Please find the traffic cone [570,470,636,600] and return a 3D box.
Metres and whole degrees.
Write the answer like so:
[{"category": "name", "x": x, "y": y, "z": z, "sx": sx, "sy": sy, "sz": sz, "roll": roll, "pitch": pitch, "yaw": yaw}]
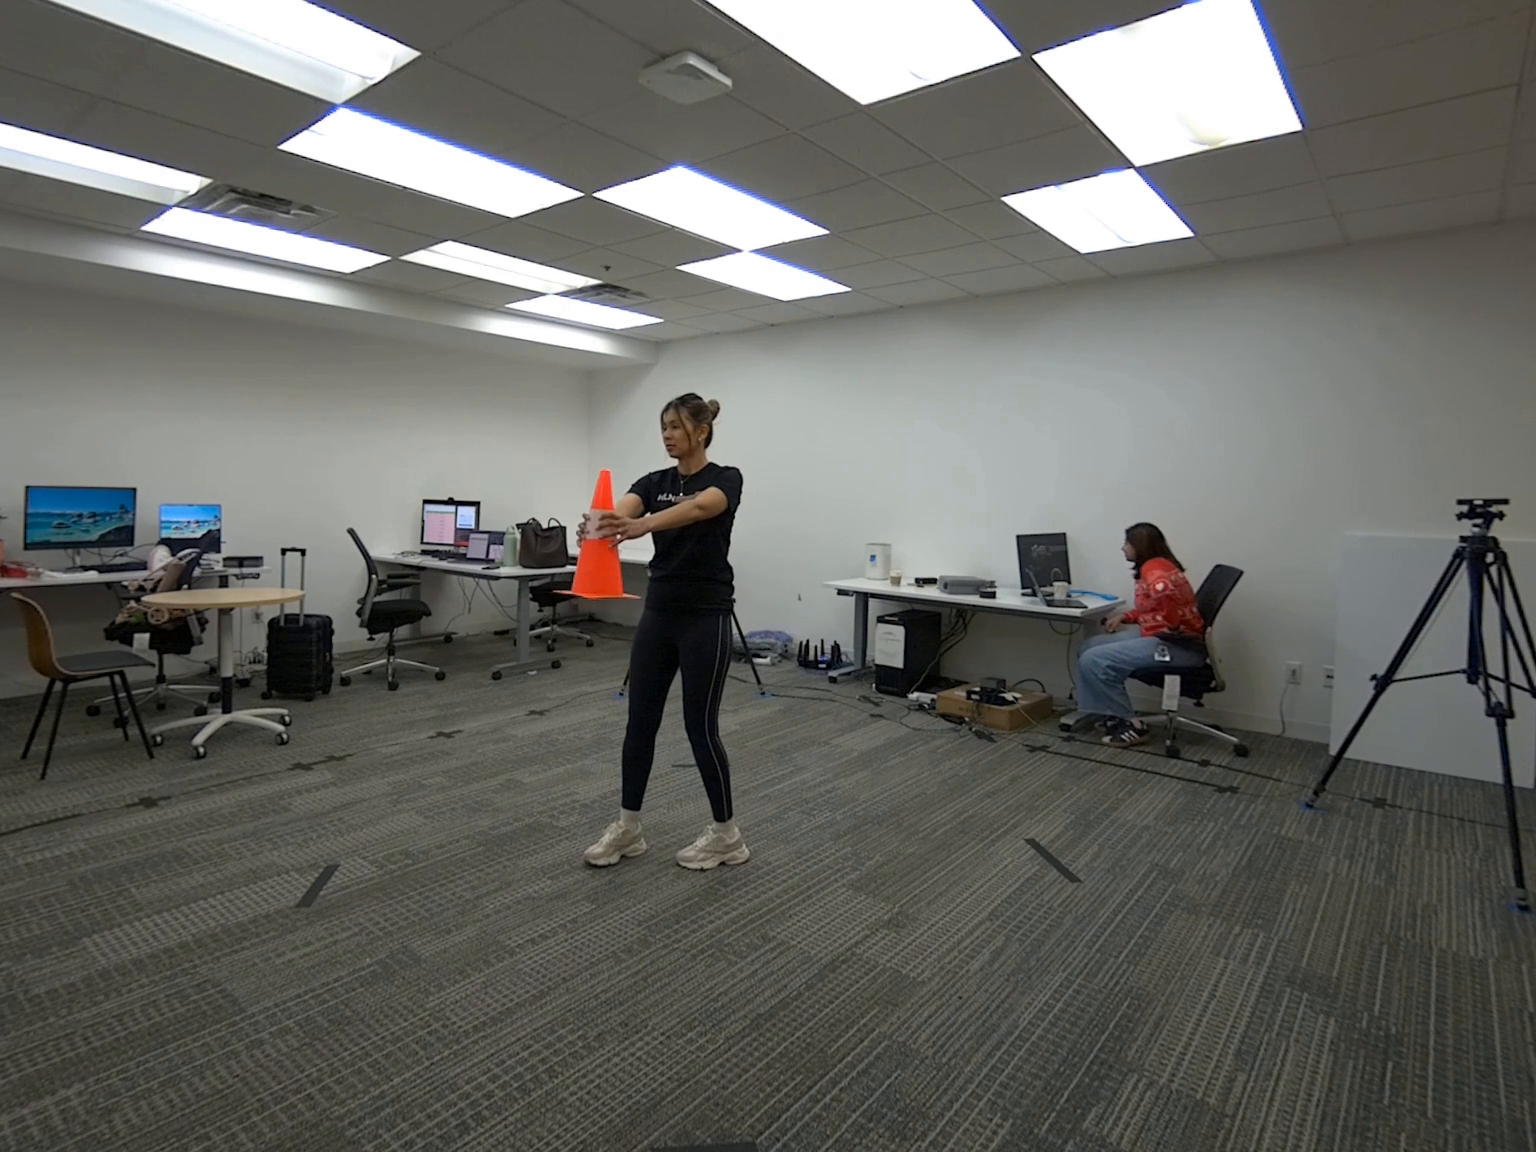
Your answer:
[{"category": "traffic cone", "x": -0.536, "y": -0.137, "z": 2.596, "sx": 0.206, "sy": 0.384, "sz": 0.202, "roll": 3, "pitch": -2, "yaw": 10}]
